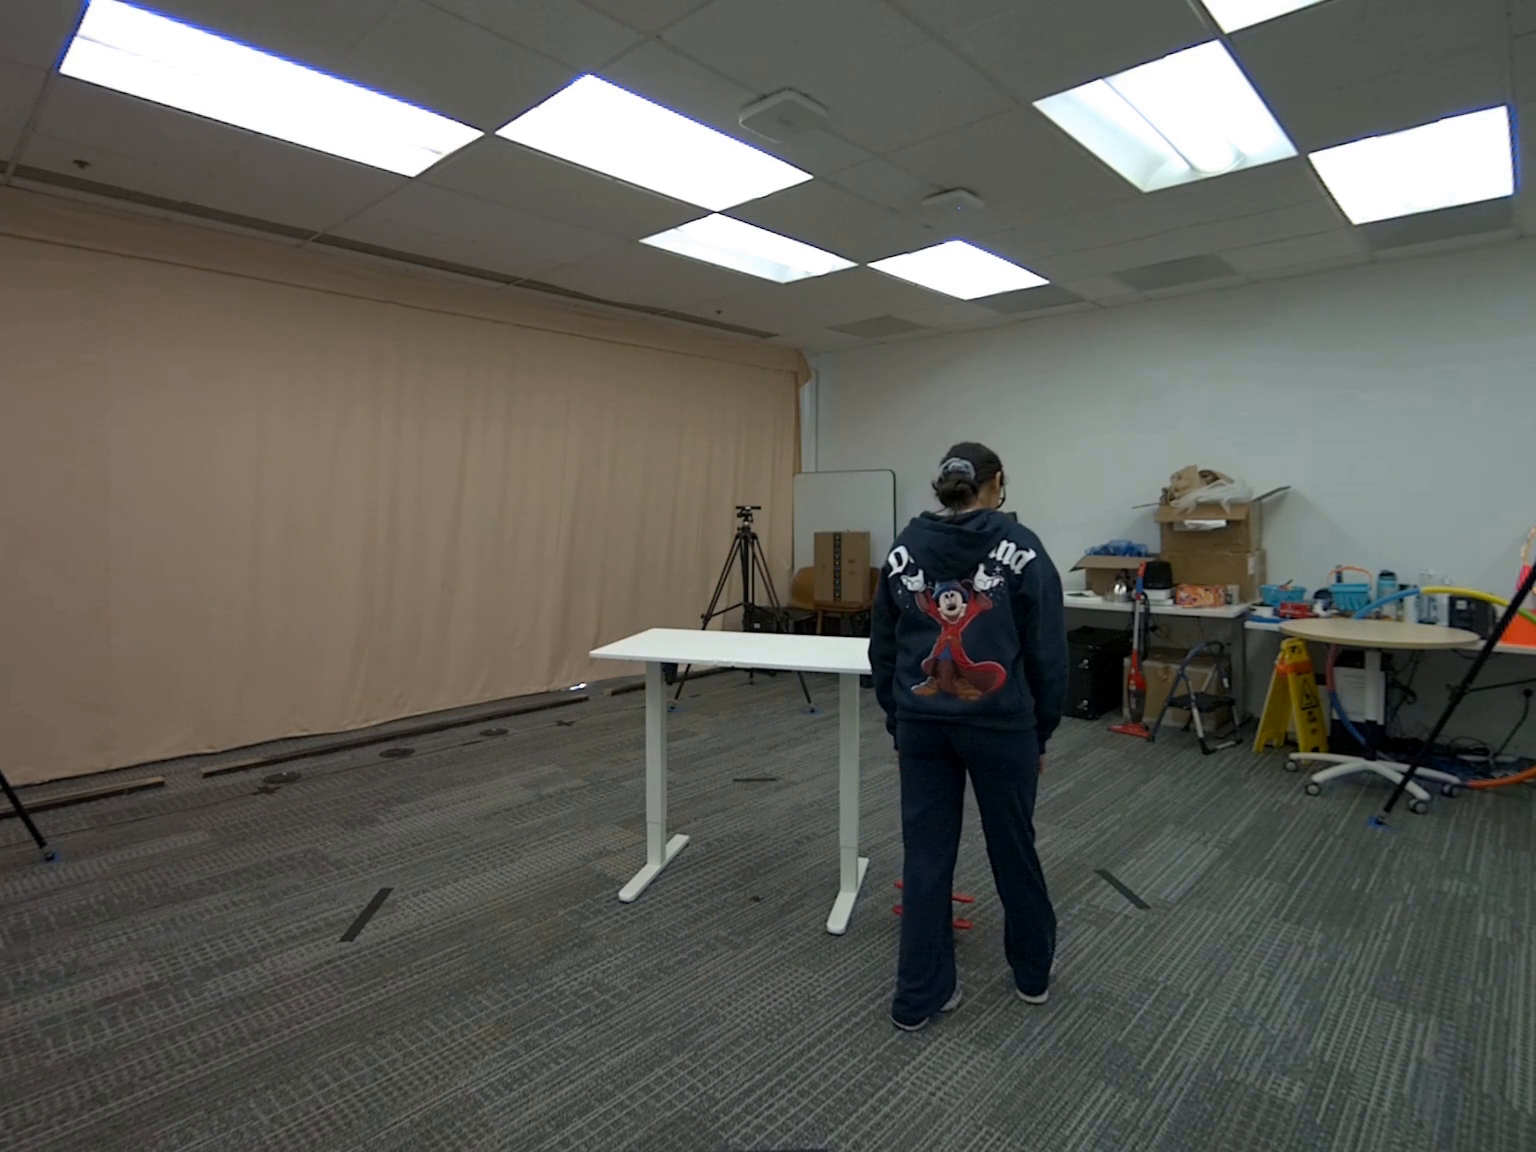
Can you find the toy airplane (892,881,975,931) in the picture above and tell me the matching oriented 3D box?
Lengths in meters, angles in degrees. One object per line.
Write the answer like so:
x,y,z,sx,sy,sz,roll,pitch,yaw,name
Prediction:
0.568,1.076,2.764,0.251,0.156,0.260,-1,6,-1,toy airplane
